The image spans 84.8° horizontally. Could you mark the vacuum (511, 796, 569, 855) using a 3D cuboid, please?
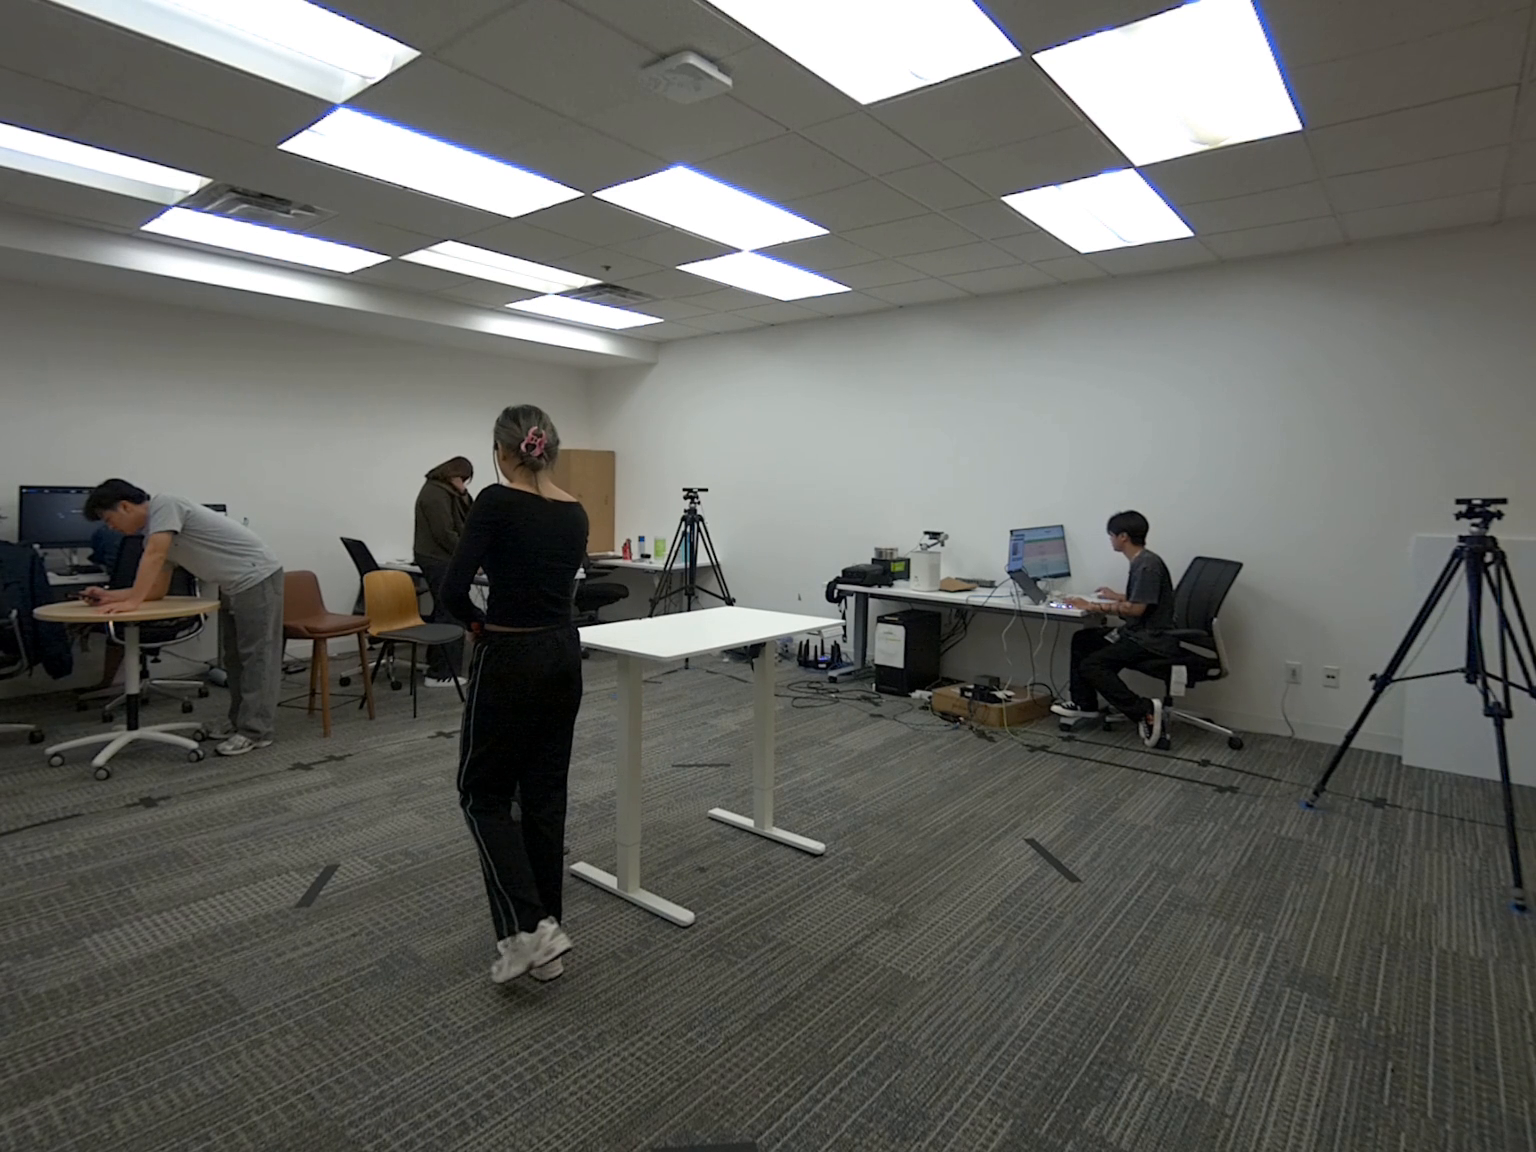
[{"bbox_3d":[-0.826,0.559,2.679,0.253,1.022,0.147,2,33,1],"label":"vacuum"}]
